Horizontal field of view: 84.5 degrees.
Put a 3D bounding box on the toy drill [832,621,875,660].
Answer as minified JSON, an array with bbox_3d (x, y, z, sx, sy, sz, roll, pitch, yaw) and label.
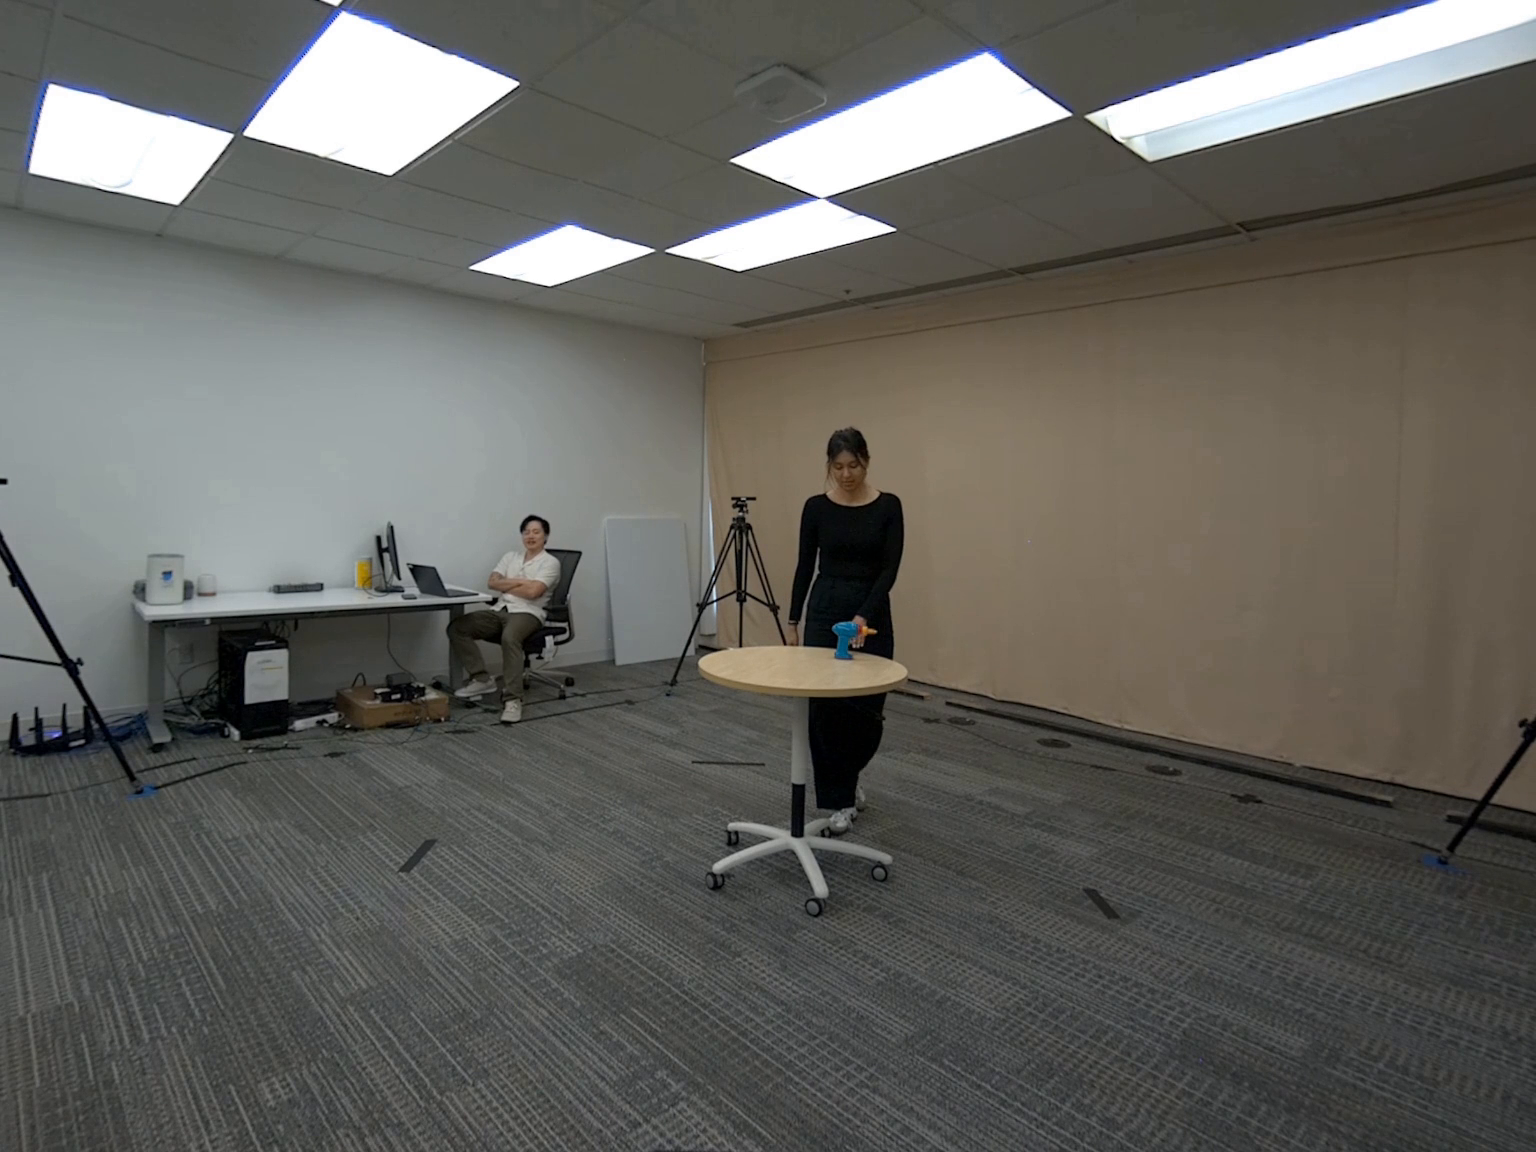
[{"bbox_3d":[0.332,0.250,3.245,0.171,0.146,0.061,2,0,6],"label":"toy drill"}]
